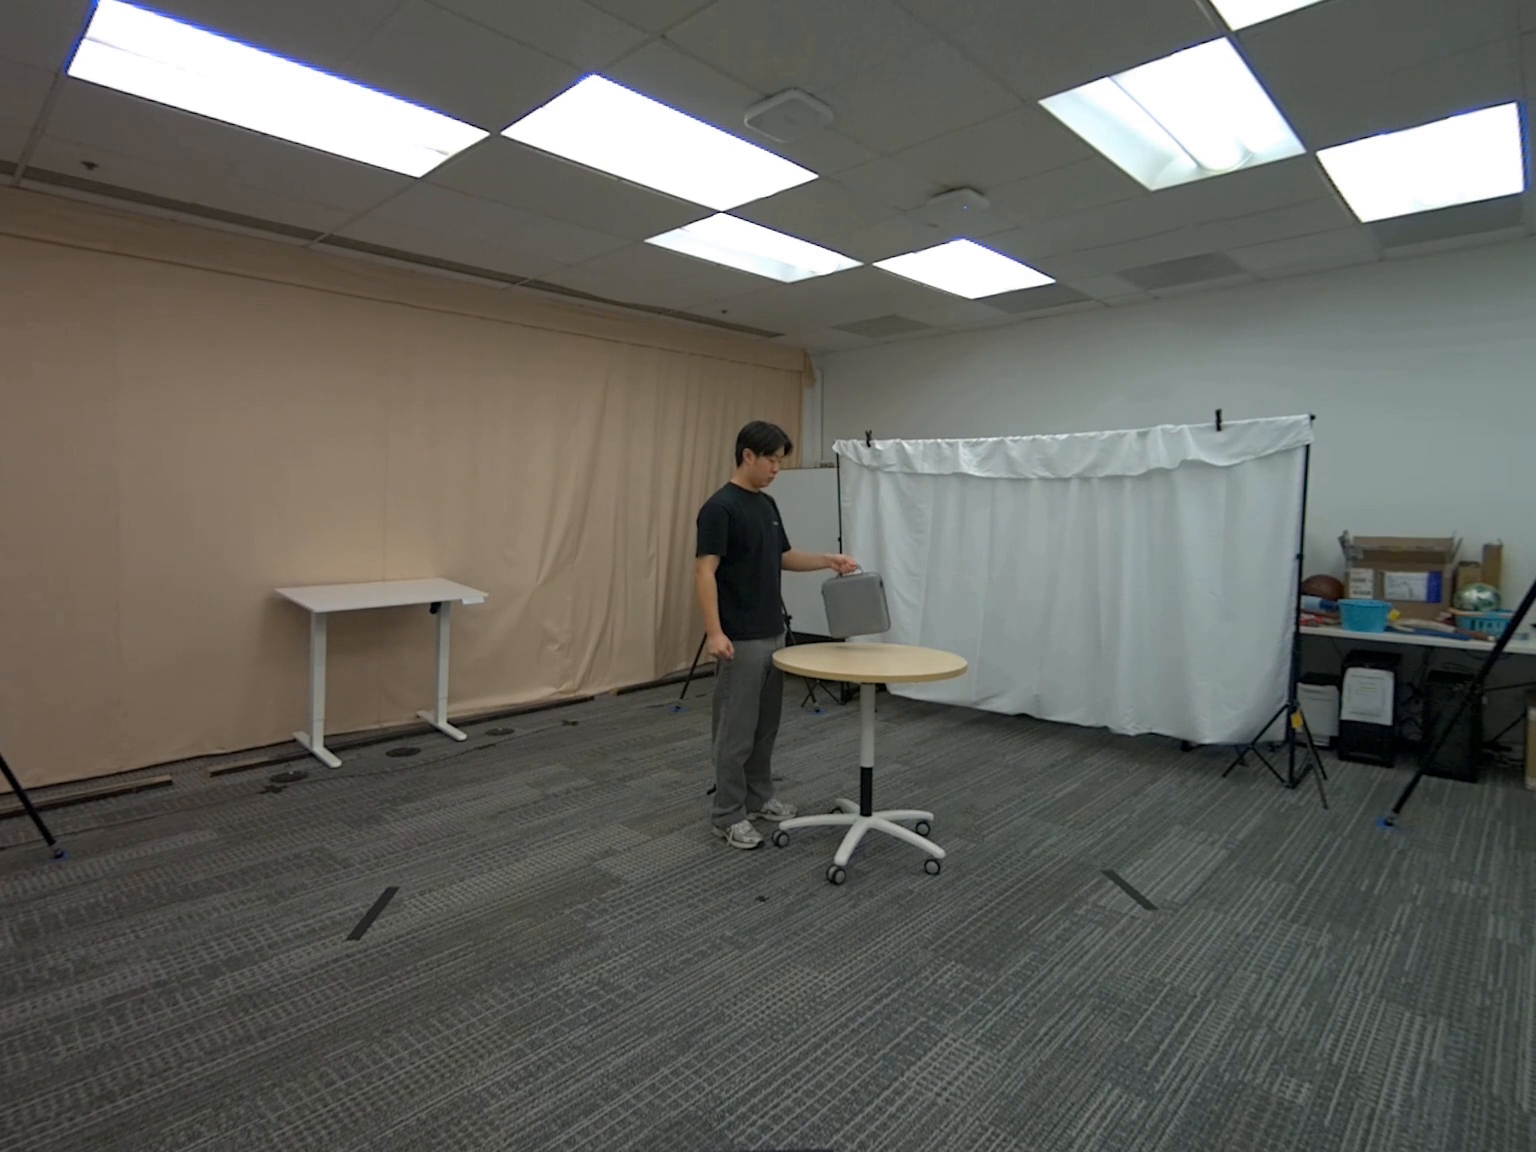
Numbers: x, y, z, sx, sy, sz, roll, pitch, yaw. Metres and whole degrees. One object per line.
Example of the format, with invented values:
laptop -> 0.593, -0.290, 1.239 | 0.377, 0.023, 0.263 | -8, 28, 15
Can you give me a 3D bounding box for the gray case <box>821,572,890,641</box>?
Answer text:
gray case -> 0.371, 0.119, 3.554 | 0.268, 0.287, 0.101 | -10, 1, 21
